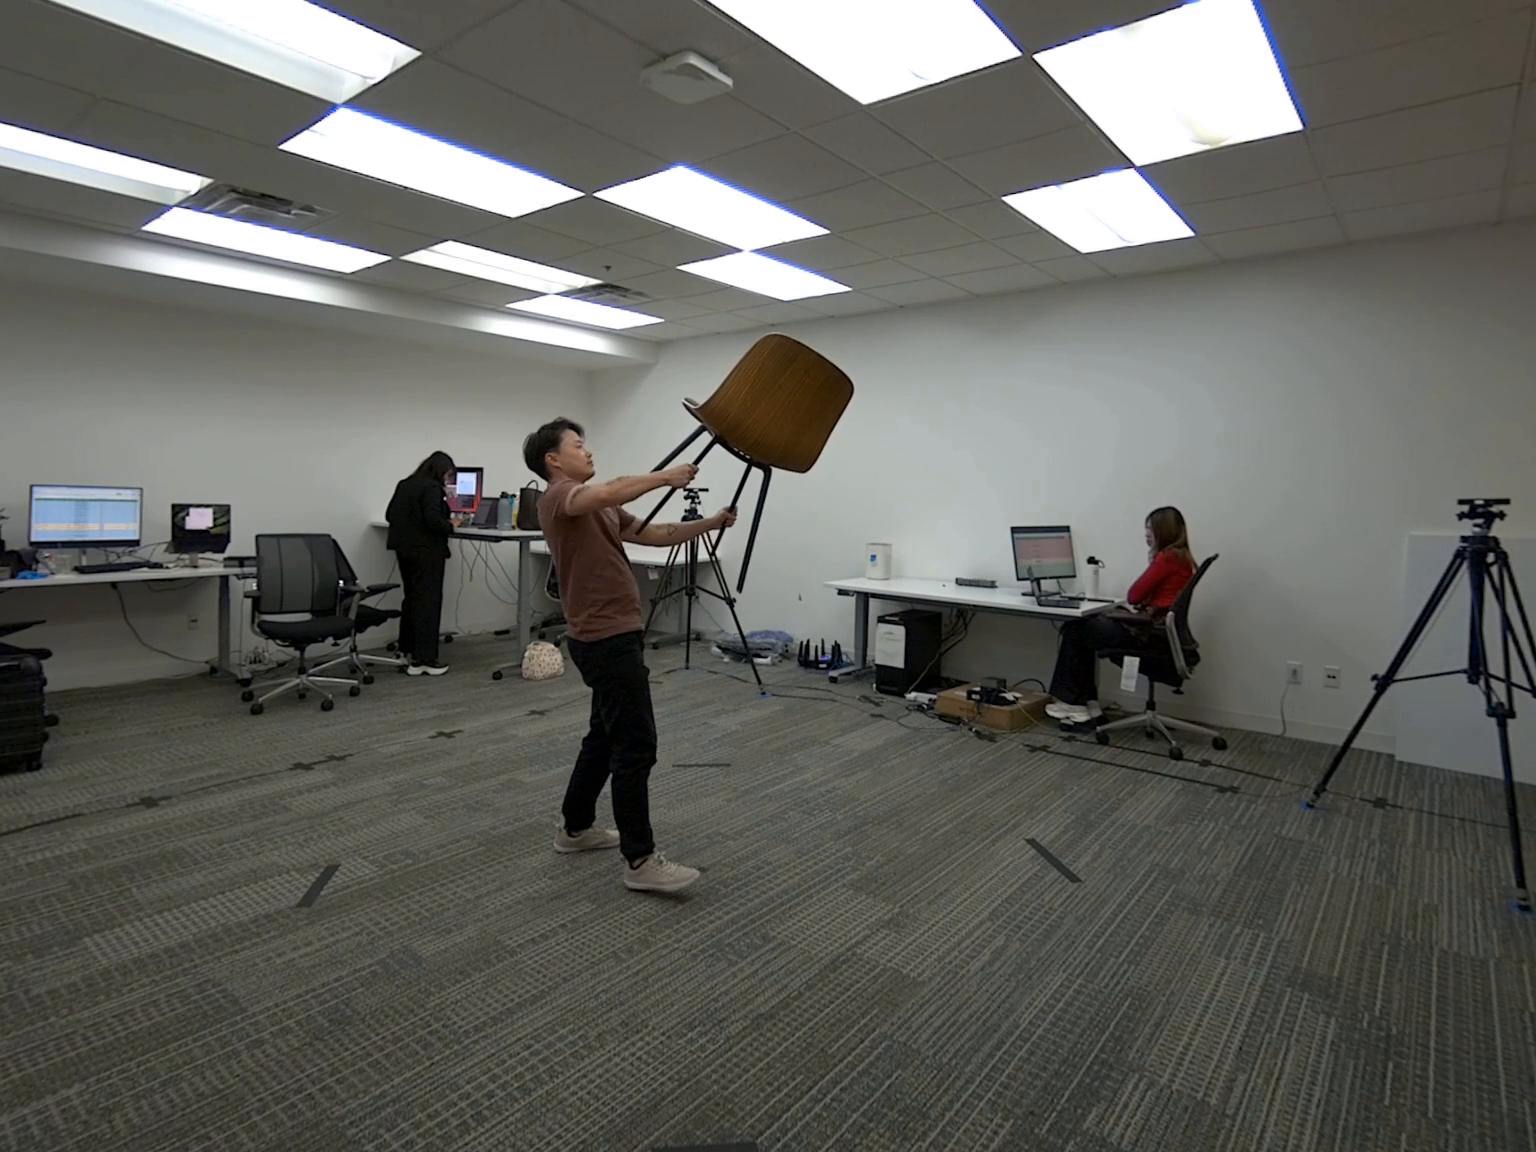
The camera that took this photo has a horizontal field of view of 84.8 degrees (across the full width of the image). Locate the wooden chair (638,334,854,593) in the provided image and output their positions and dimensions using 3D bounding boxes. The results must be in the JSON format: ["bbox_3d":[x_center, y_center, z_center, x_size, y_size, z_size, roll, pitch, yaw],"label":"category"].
[{"bbox_3d":[-0.121,-0.477,3.125,0.465,0.875,0.539,29,11,-21],"label":"wooden chair"}]
